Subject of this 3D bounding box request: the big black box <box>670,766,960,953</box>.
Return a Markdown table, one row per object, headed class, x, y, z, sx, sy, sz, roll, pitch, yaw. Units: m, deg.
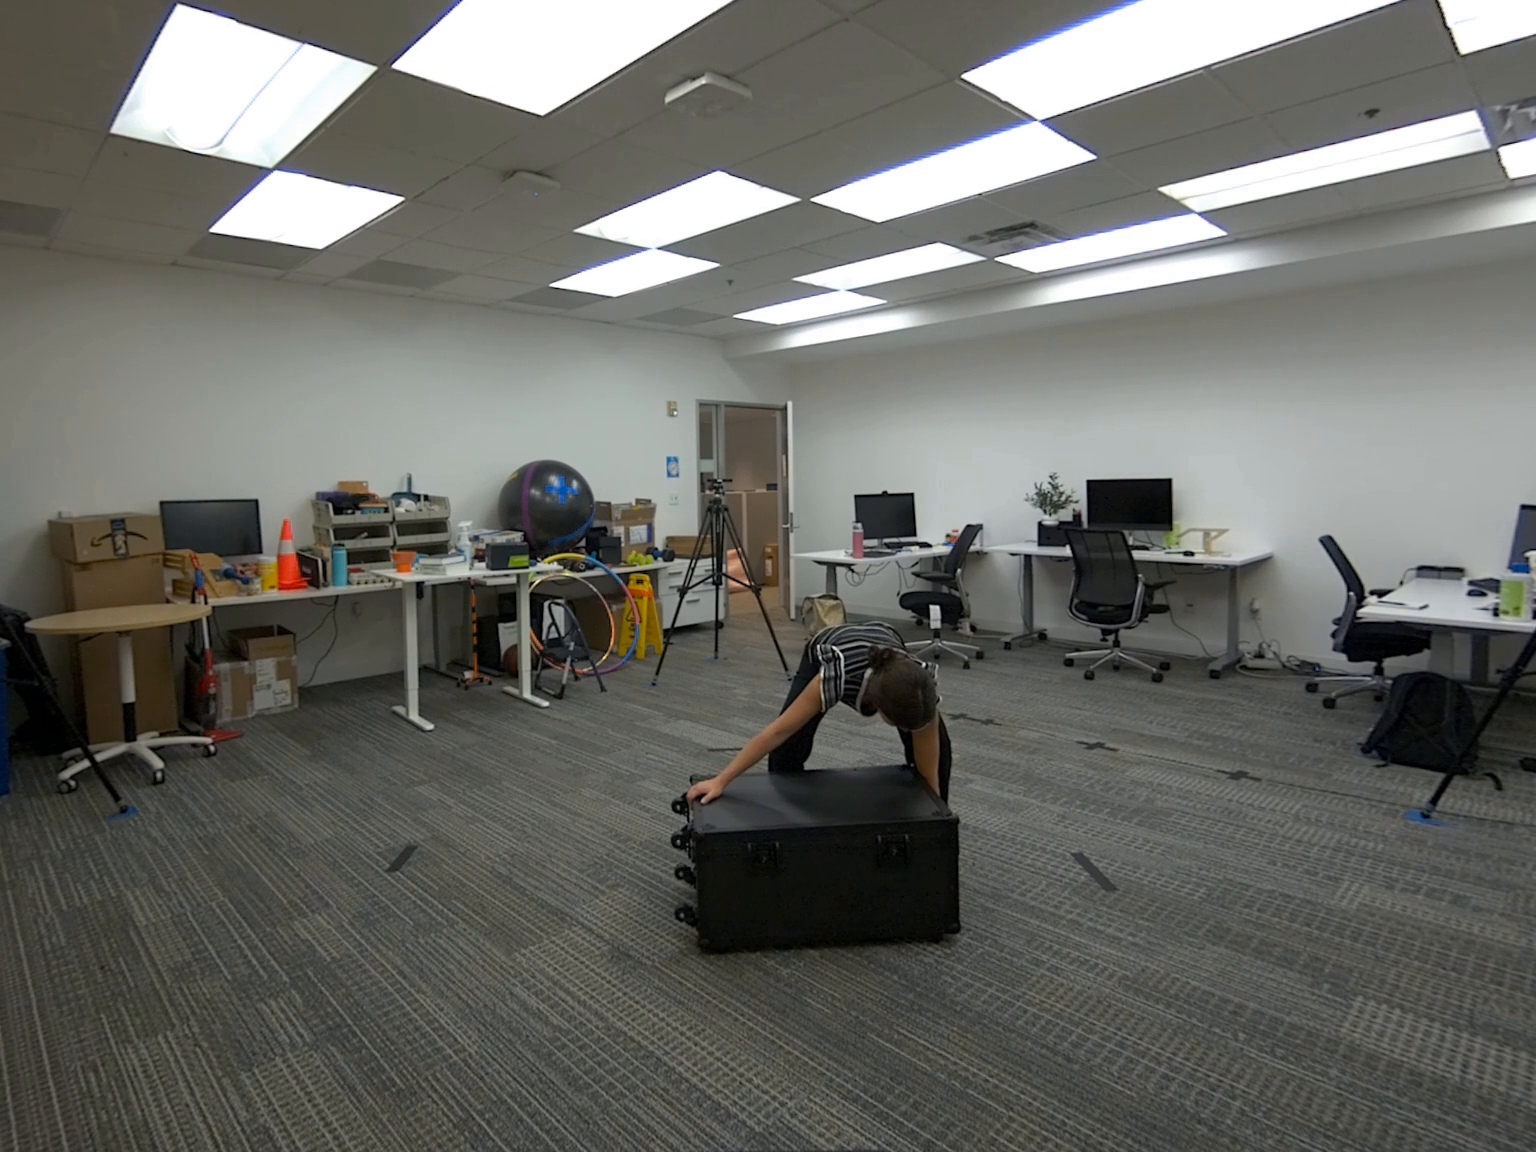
| class | x | y | z | sx | sy | sz | roll | pitch | yaw |
| --- | --- | --- | --- | --- | --- | --- | --- | --- | --- |
| big black box | 0.122 | 0.889 | 2.746 | 0.858 | 0.395 | 0.525 | -1 | 4 | -4 |
